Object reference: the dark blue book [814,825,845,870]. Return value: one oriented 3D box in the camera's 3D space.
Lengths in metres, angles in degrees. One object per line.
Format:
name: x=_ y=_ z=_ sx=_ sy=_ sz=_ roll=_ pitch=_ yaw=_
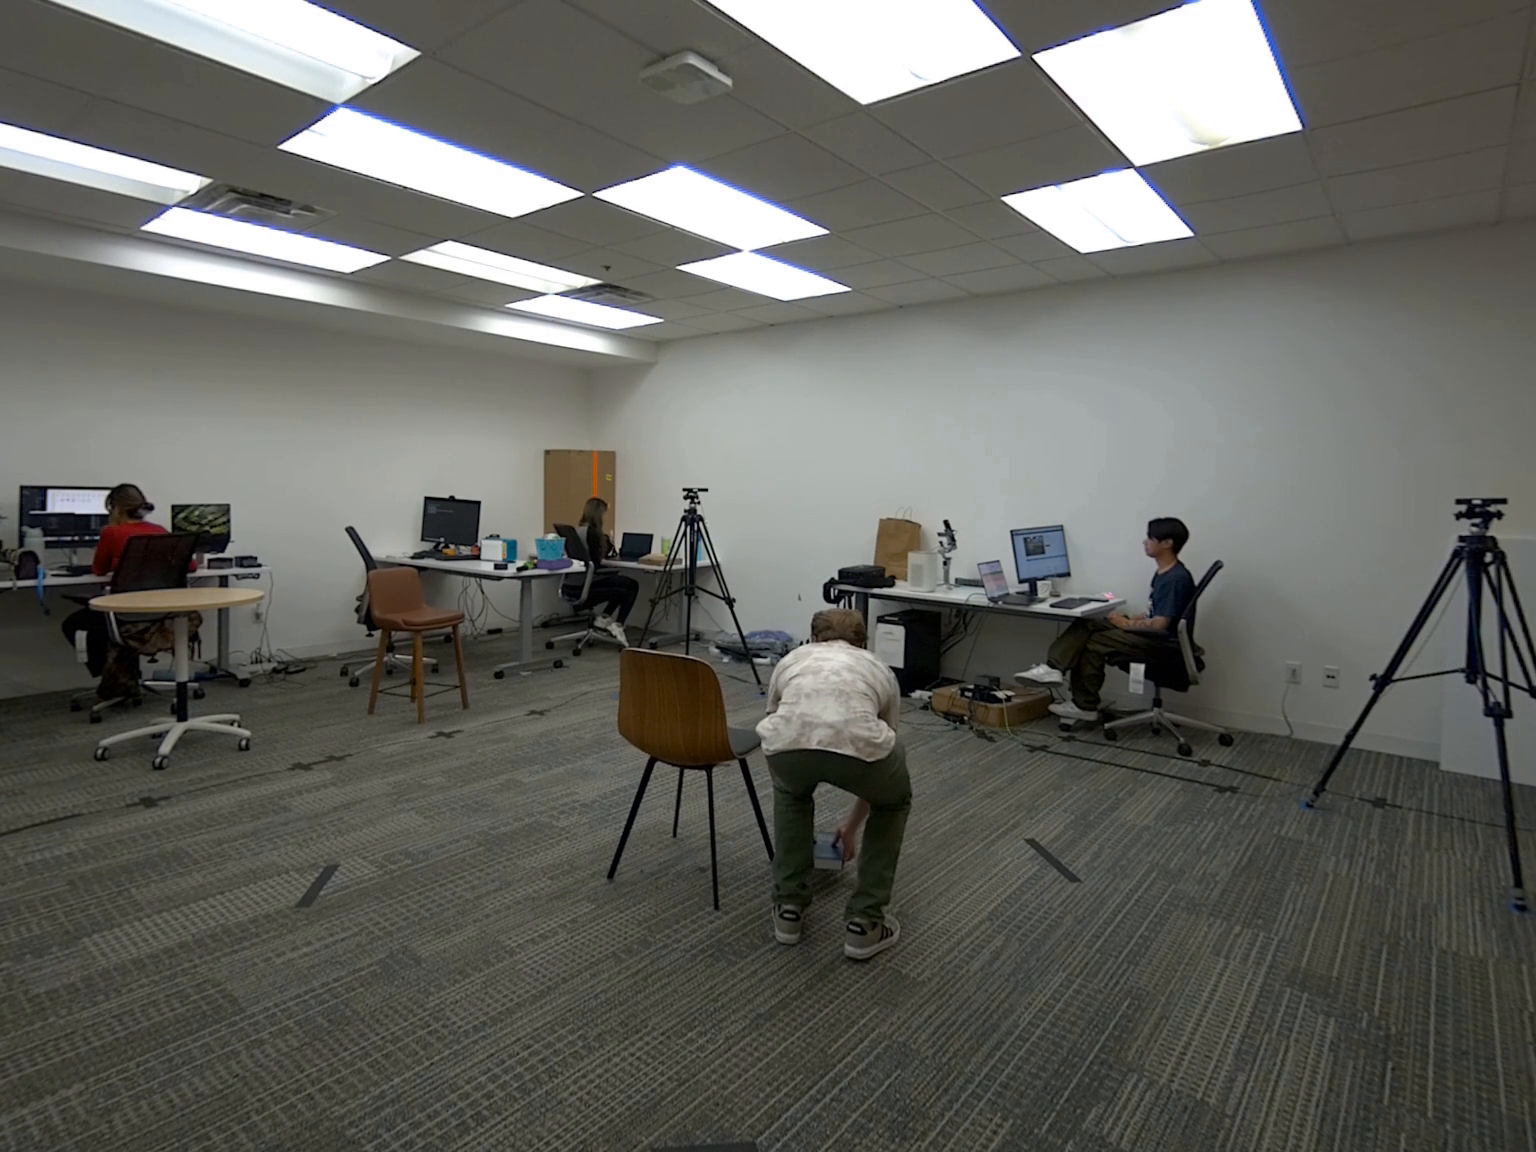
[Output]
dark blue book: x=0.192 y=0.986 z=3.075 sx=0.165 sy=0.045 sz=0.244 roll=2 pitch=6 yaw=6
